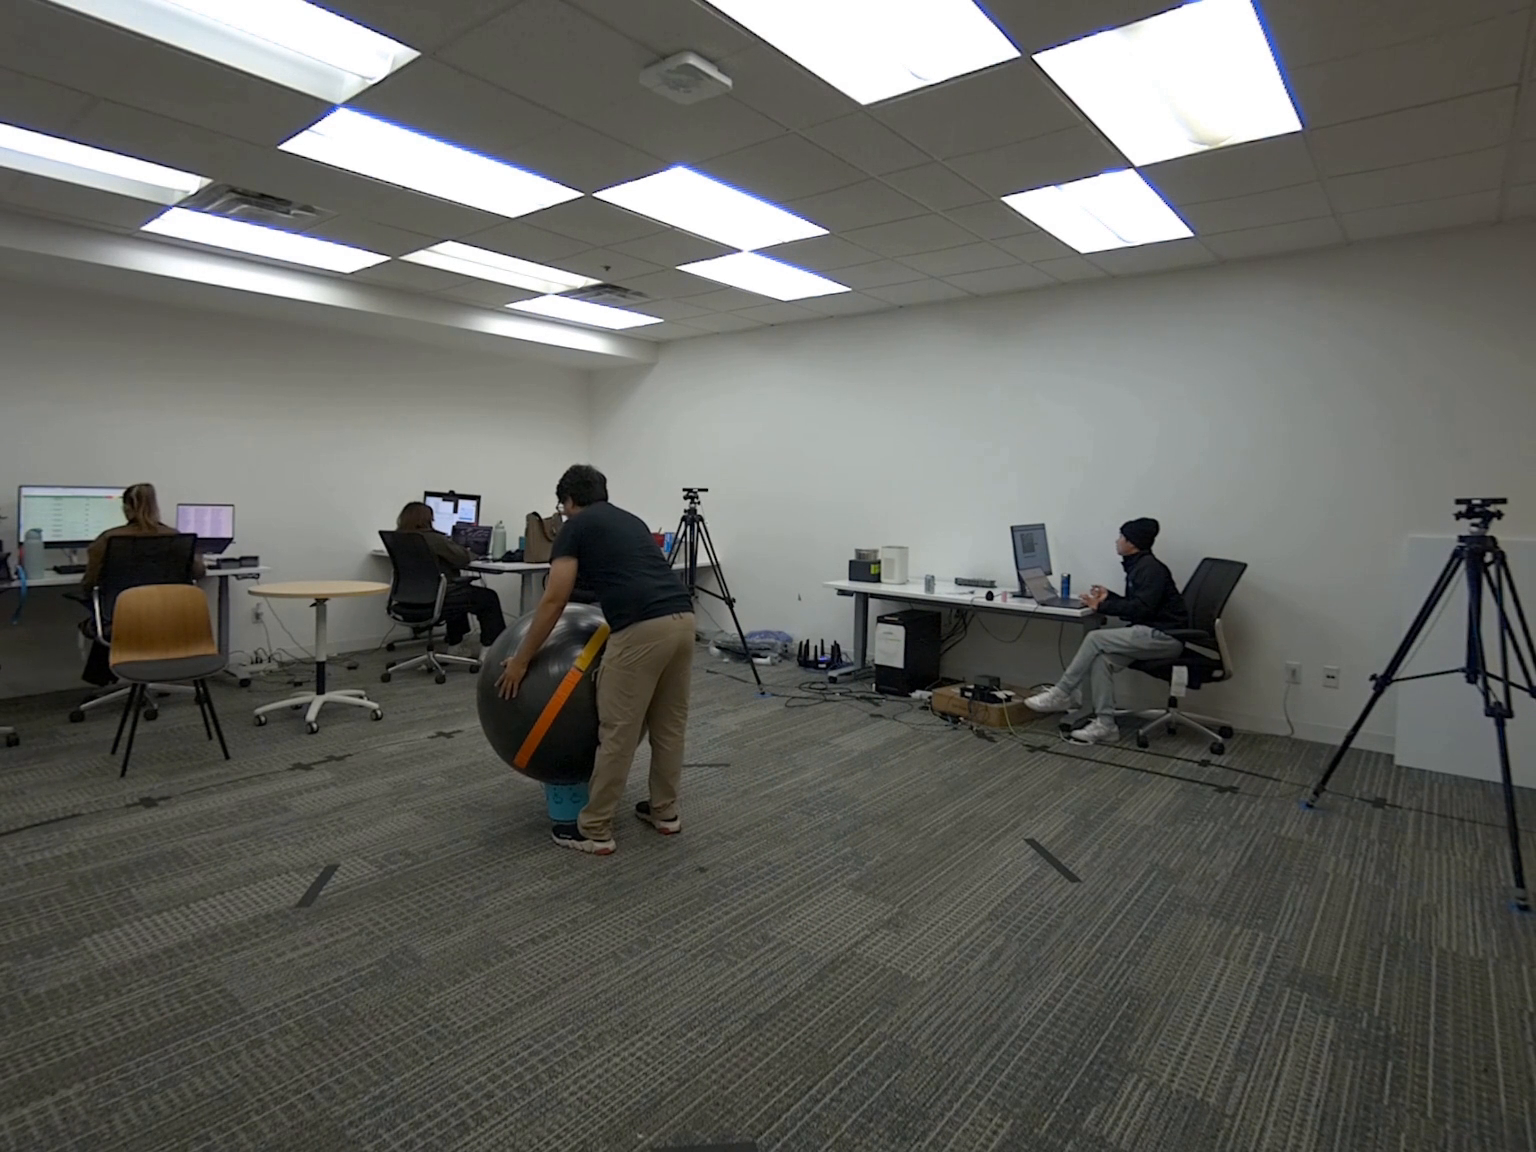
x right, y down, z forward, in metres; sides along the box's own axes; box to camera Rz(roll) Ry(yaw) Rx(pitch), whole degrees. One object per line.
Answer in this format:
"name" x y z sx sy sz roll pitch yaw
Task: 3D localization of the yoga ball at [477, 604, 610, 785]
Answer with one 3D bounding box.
"yoga ball" -0.876 0.497 3.640 0.757 0.756 0.762 1 4 -2
